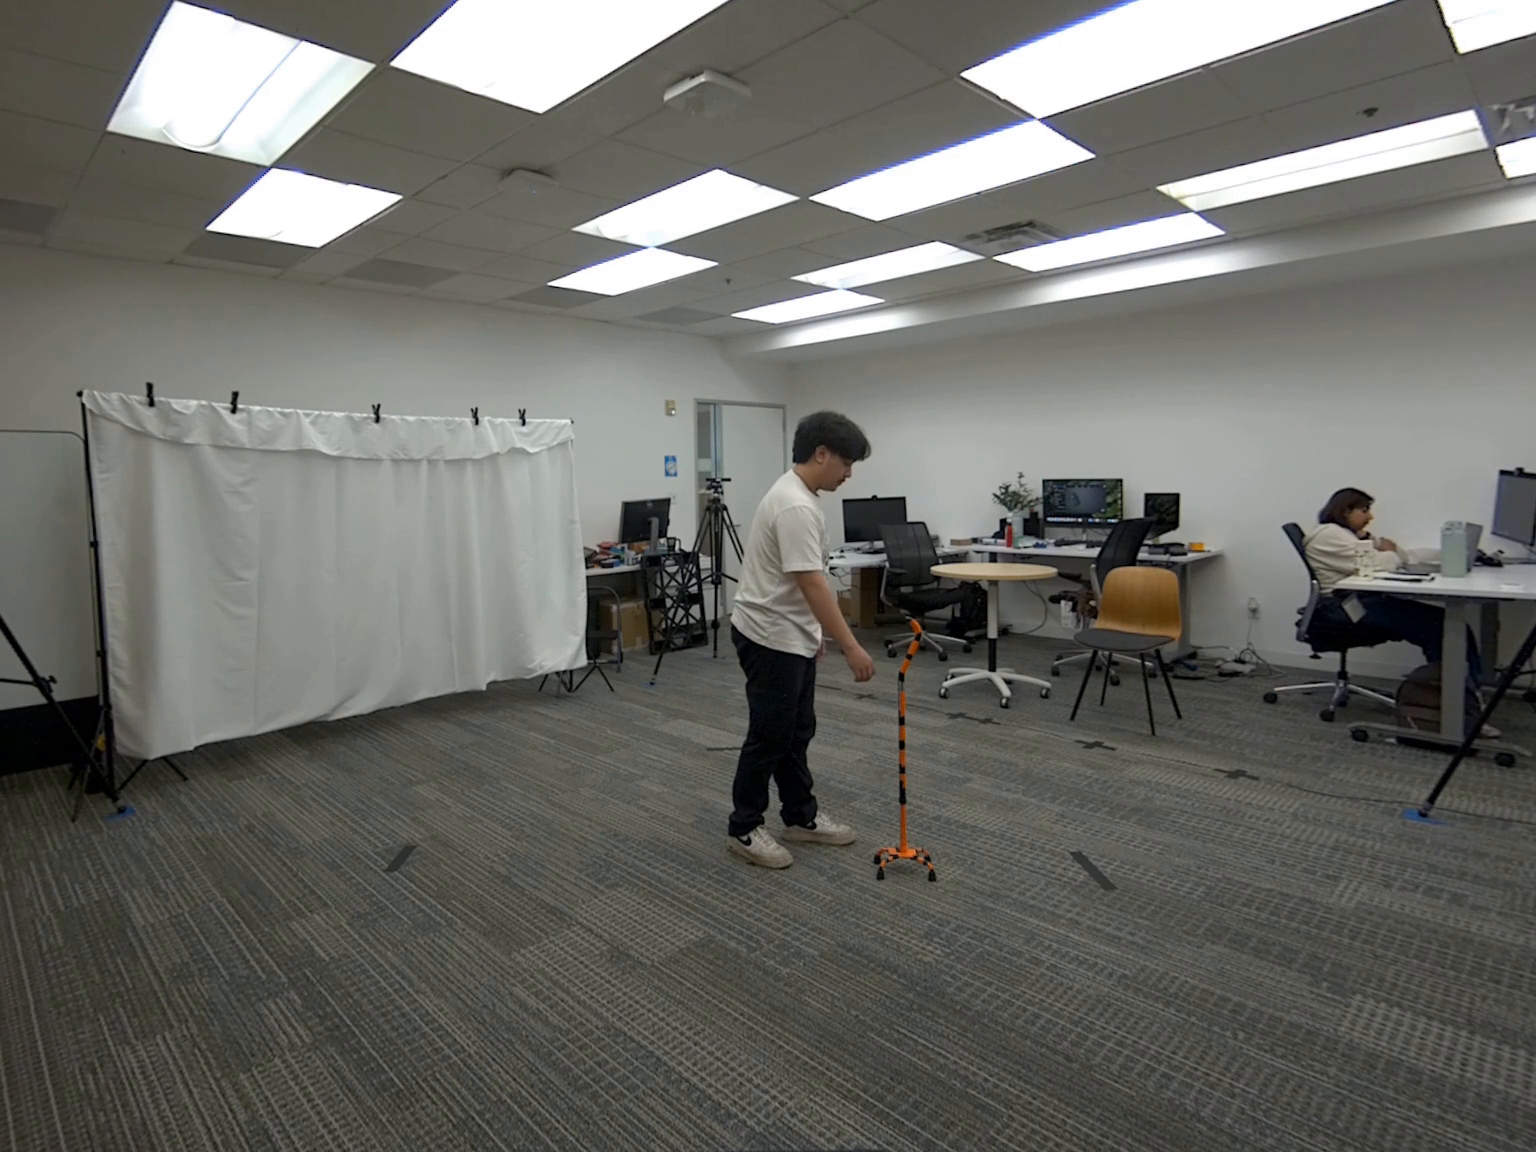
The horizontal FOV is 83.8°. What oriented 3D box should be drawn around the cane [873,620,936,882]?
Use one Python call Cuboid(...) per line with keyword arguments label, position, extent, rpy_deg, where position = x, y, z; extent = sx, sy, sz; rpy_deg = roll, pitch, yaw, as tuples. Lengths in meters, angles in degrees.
Cuboid(label="cane", position=(0.474, 0.590, 2.997), extent=(0.207, 0.905, 0.151), rpy_deg=(-1, 3, 4))
